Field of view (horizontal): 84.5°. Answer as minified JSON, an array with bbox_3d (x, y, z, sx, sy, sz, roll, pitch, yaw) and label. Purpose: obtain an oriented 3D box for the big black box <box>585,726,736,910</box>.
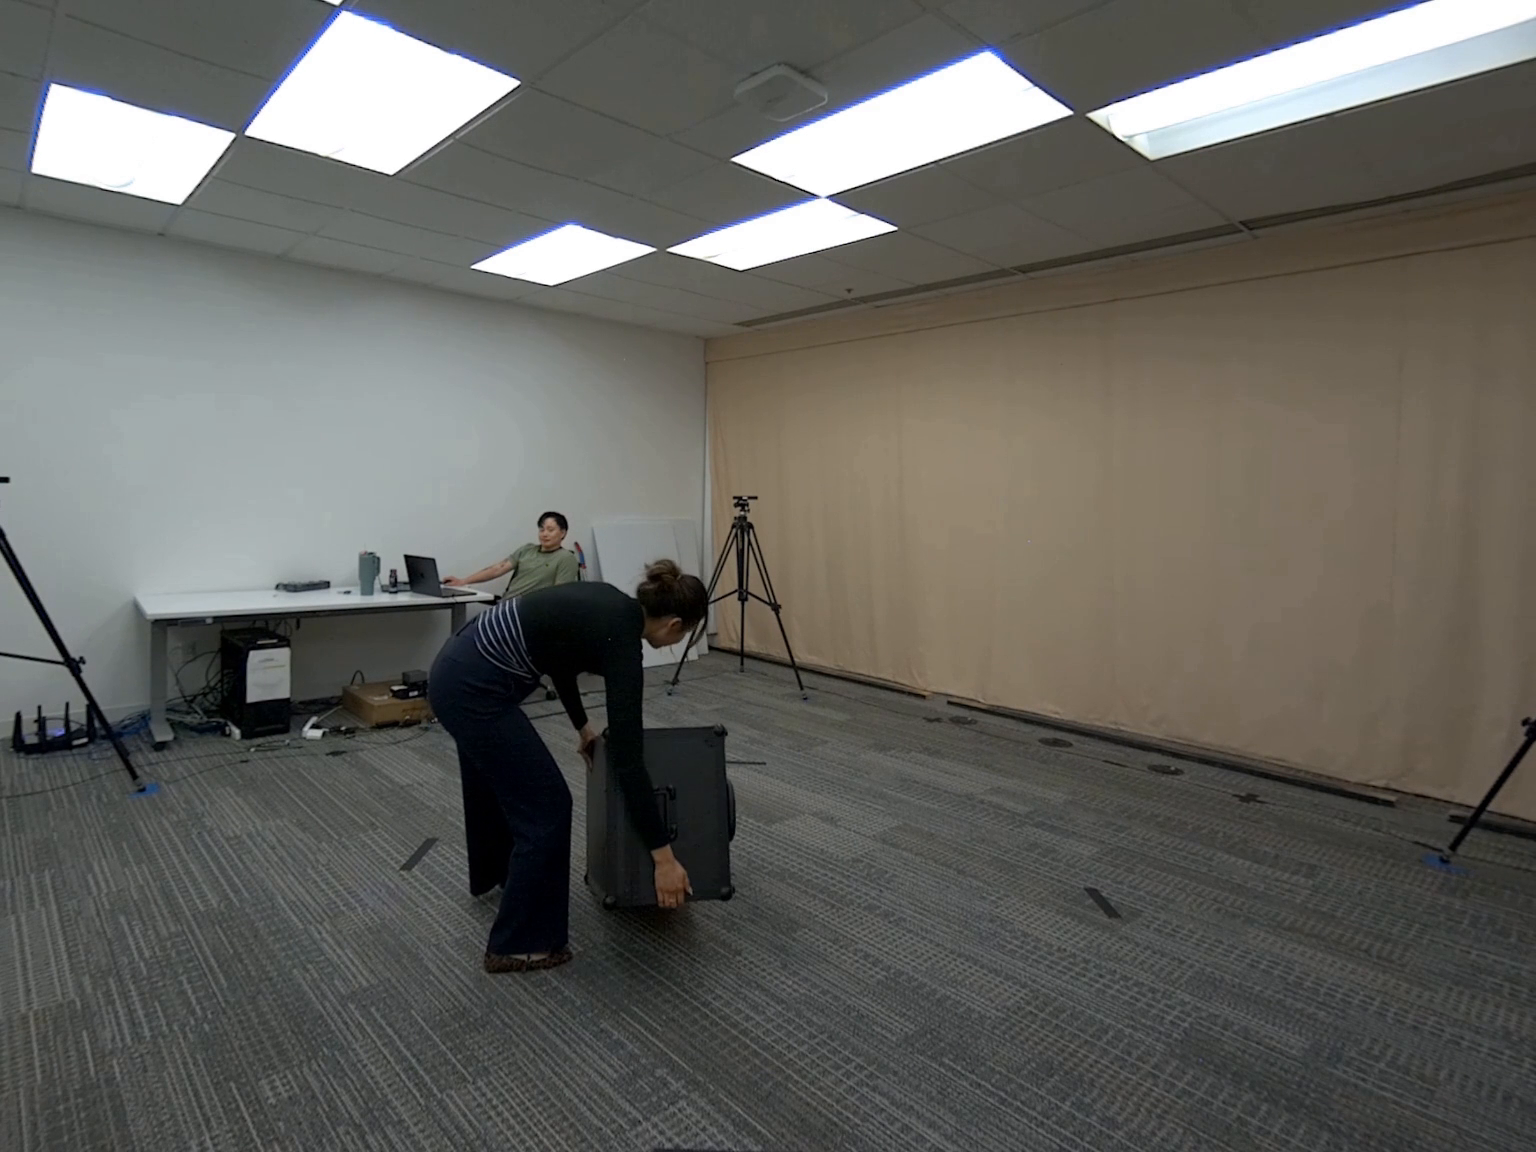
[{"bbox_3d":[-0.393,0.778,2.795,0.391,0.527,0.862,2,-15,-16],"label":"big black box"}]
